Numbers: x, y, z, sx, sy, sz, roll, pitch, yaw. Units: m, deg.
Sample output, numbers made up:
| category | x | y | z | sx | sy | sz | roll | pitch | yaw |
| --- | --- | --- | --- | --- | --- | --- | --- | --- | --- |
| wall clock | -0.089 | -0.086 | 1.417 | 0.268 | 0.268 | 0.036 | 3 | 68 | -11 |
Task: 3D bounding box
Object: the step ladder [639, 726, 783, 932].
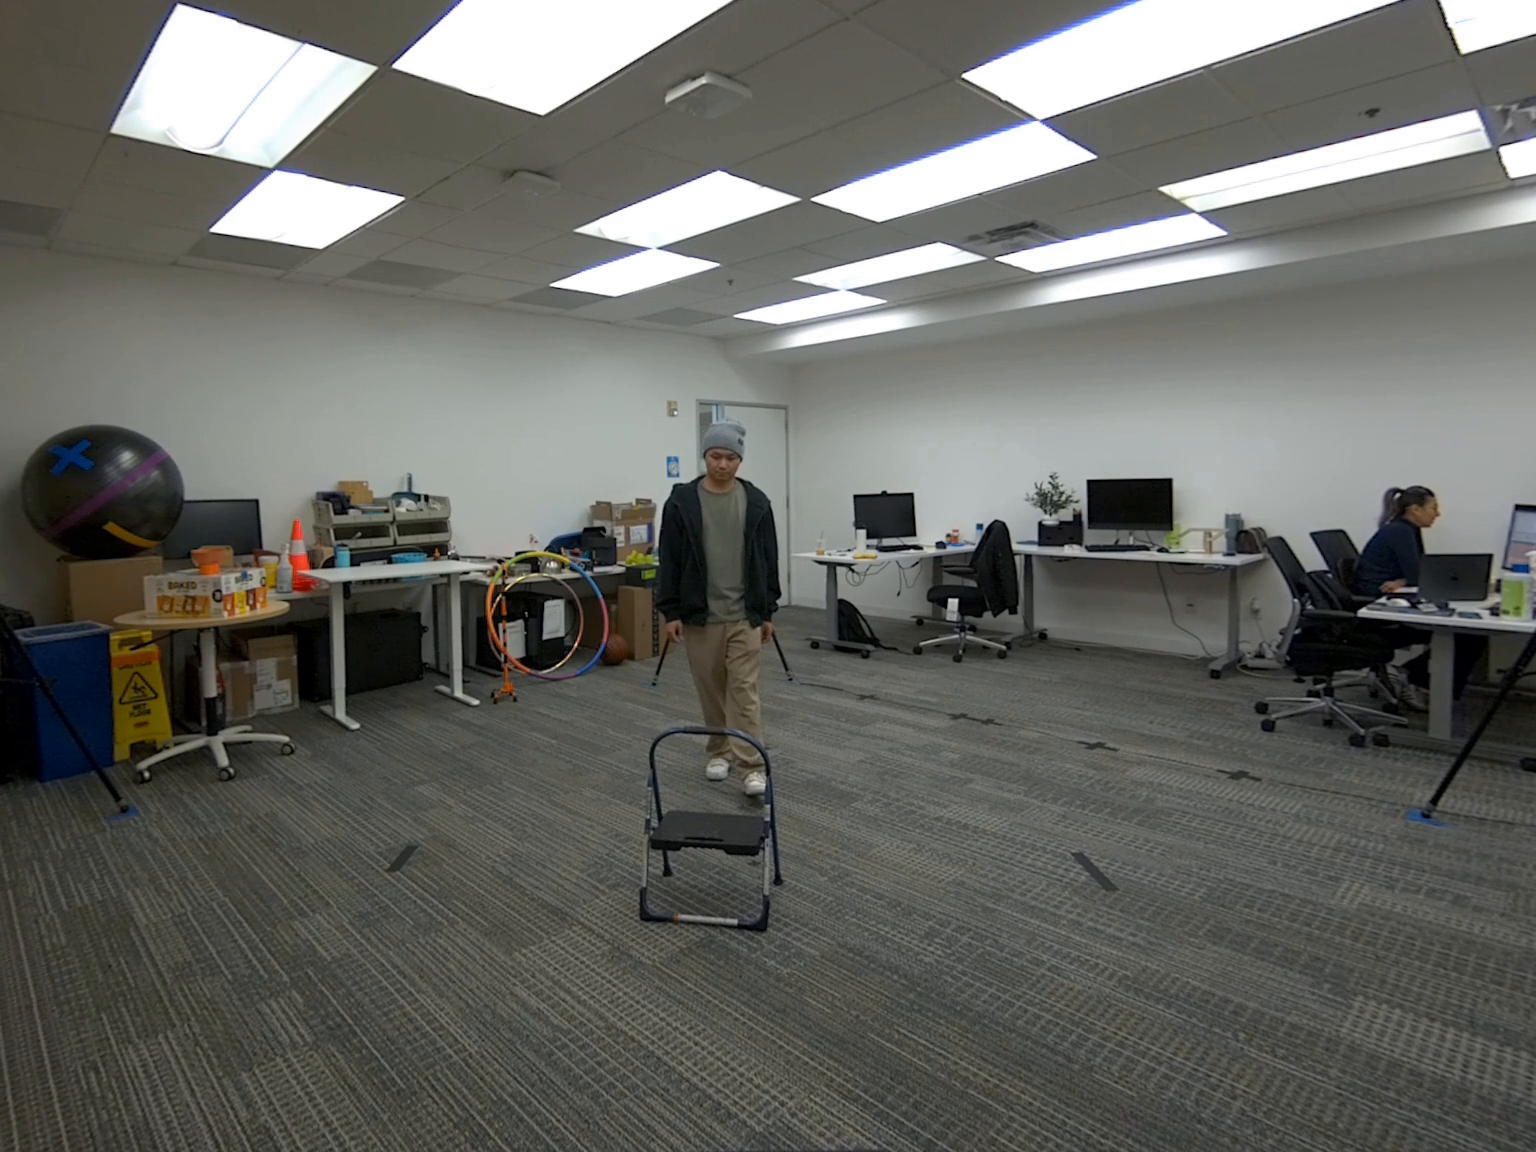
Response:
| category | x | y | z | sx | sy | sz | roll | pitch | yaw |
| --- | --- | --- | --- | --- | --- | --- | --- | --- | --- |
| step ladder | -0.190 | 0.781 | 2.822 | 0.435 | 0.604 | 0.347 | 0 | 4 | 10 |
